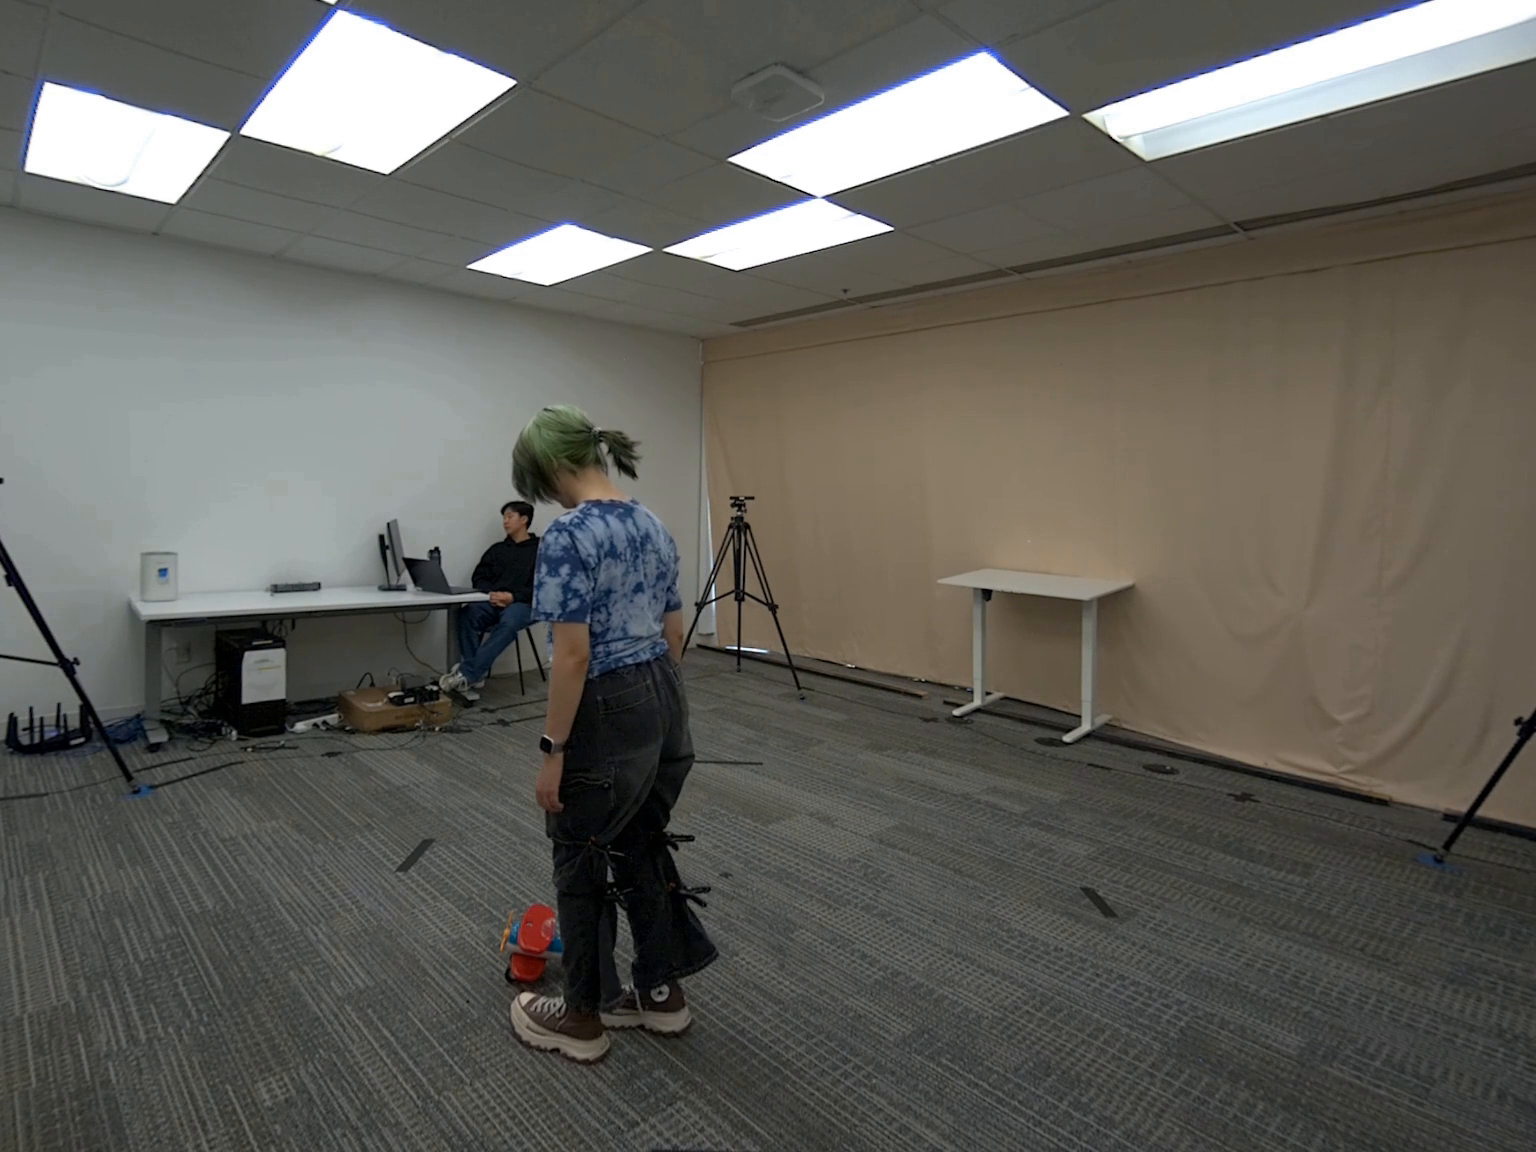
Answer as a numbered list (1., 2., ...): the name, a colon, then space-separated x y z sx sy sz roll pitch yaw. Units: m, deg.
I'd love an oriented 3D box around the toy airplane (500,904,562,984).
1. toy airplane: -0.652 1.077 2.453 0.254 0.156 0.257 -3 6 -34
